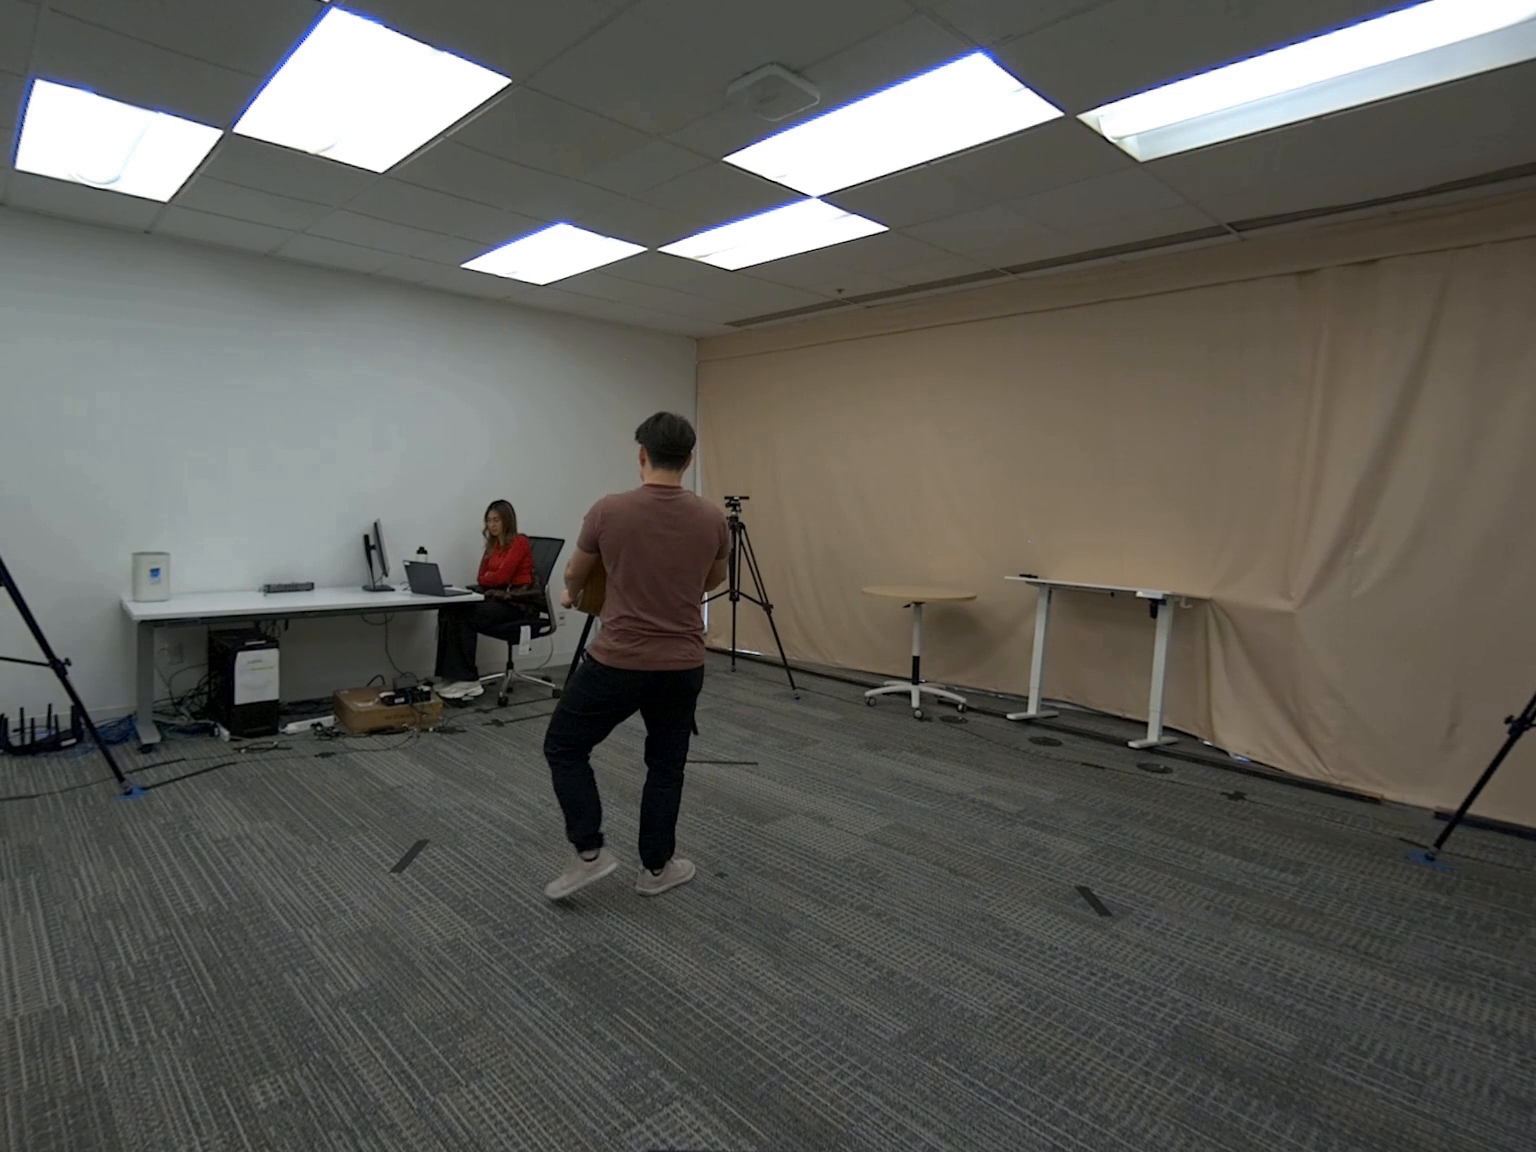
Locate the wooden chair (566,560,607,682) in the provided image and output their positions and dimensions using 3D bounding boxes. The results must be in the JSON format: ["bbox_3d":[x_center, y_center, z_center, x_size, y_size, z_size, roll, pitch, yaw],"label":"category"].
[{"bbox_3d":[-0.537,0.151,3.248,0.471,0.868,0.537,-1,17,-21],"label":"wooden chair"}]
